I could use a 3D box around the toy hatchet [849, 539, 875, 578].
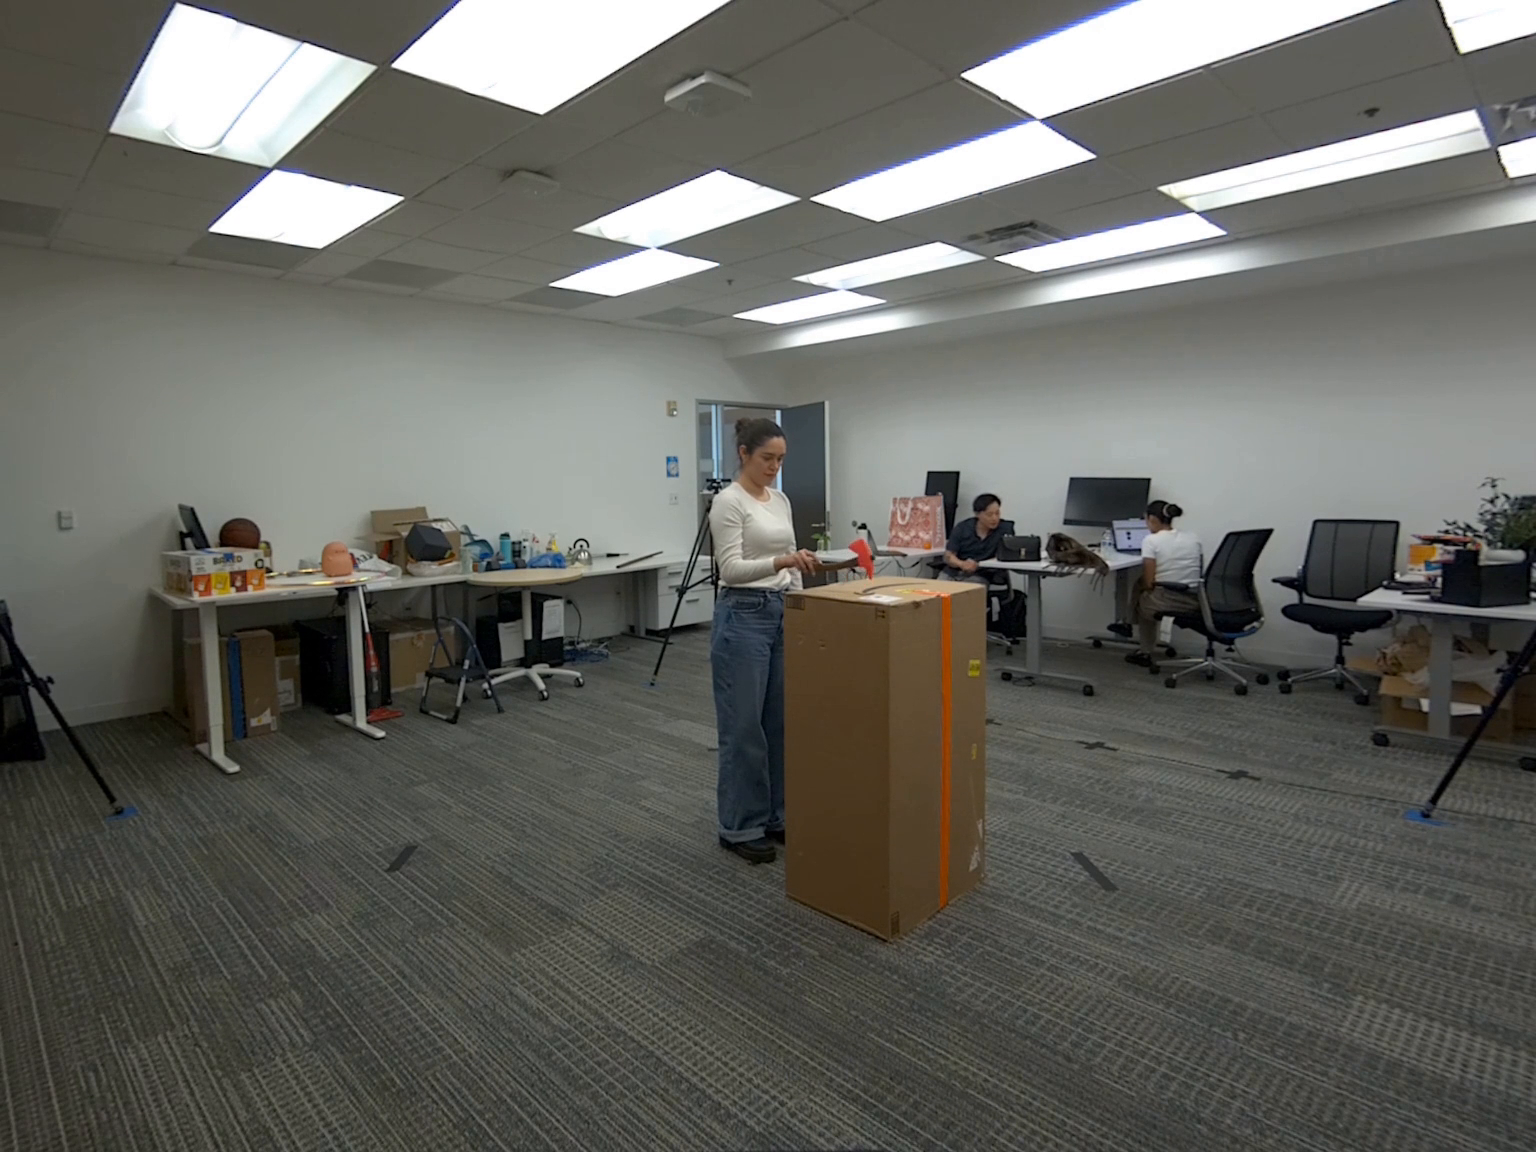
[{"bbox_3d":[0.230,-0.060,2.820,0.278,0.130,0.029,9,12,30],"label":"toy hatchet"}]
